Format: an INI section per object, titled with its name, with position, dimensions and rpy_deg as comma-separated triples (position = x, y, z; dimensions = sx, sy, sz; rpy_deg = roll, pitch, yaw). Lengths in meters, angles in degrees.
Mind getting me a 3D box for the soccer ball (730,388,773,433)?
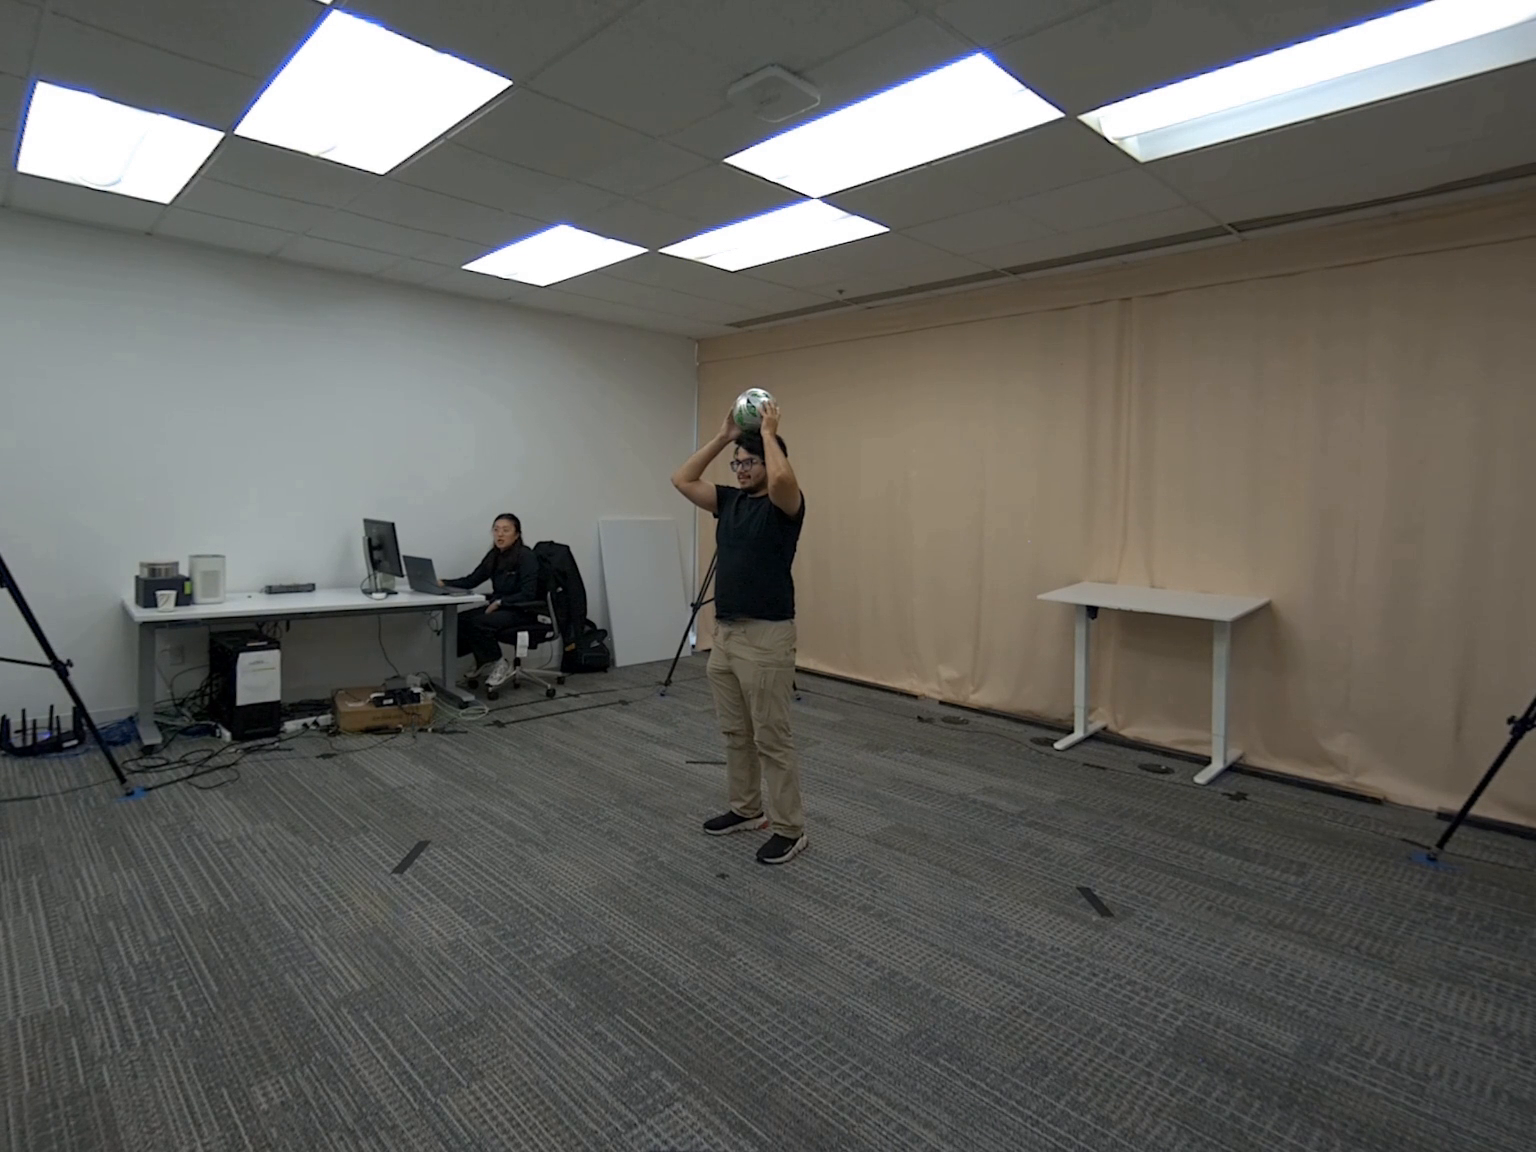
[soccer ball]
position = -0.054, -0.658, 3.388
dimensions = 0.187, 0.187, 0.188
rpy_deg = 1, 4, -1
